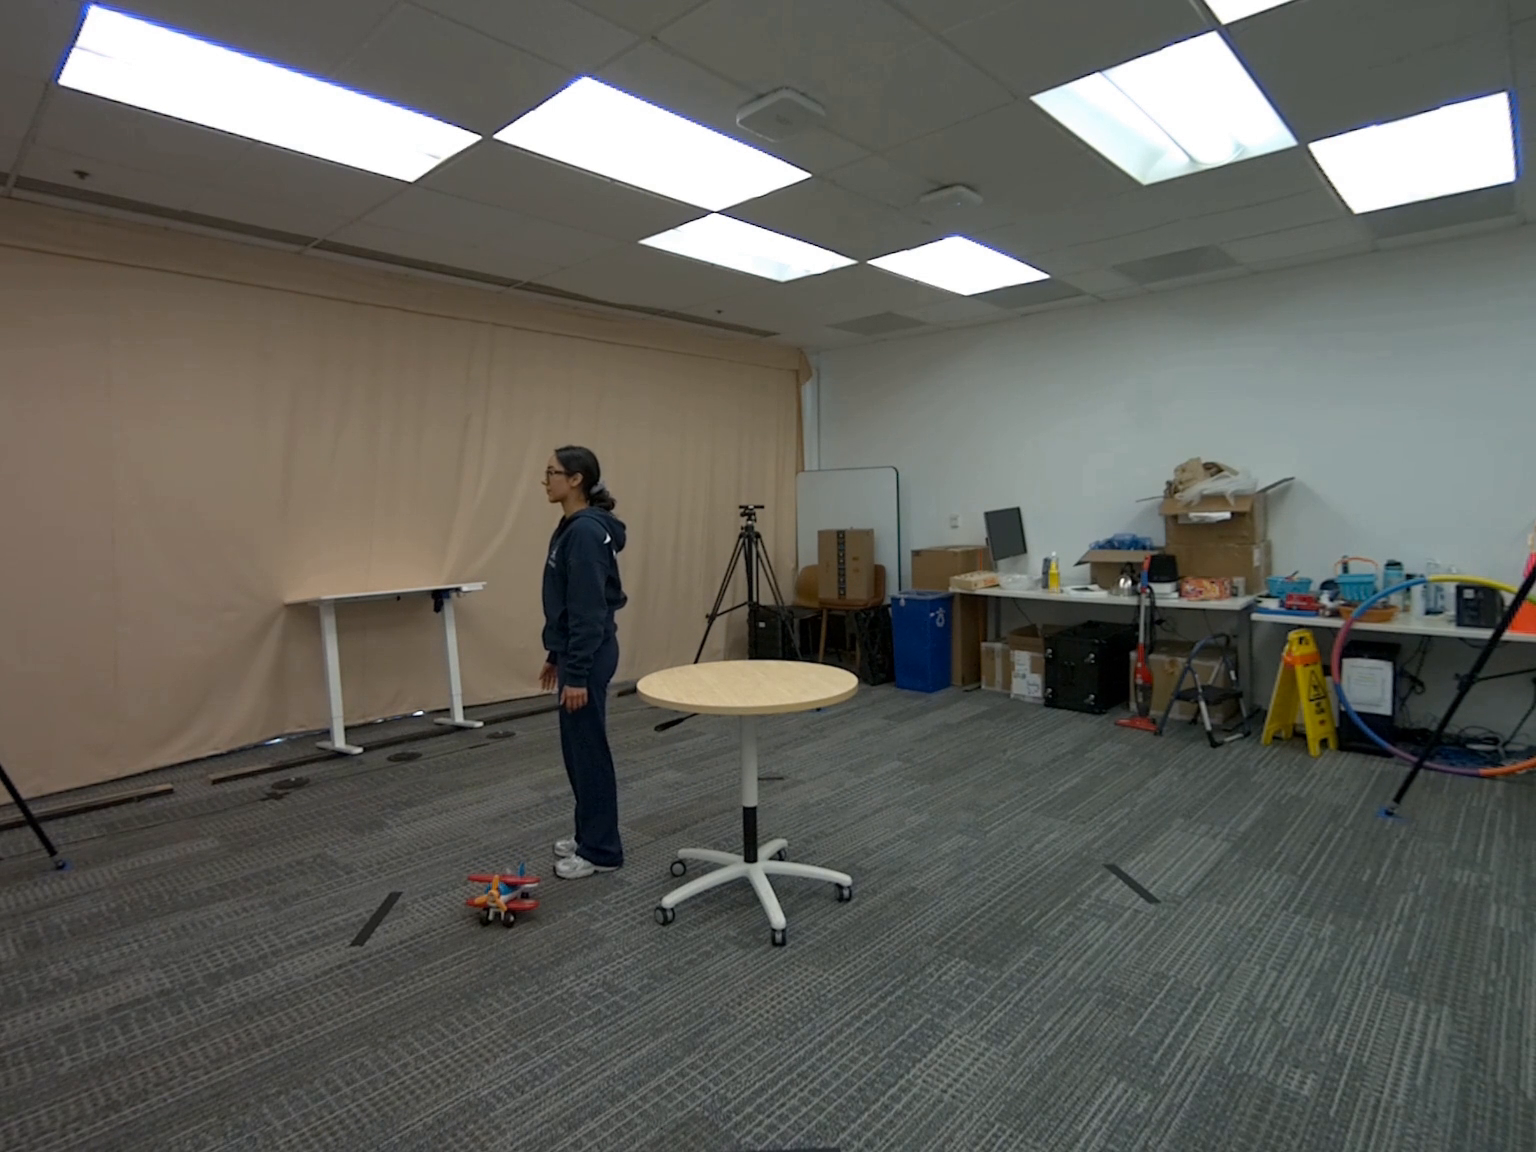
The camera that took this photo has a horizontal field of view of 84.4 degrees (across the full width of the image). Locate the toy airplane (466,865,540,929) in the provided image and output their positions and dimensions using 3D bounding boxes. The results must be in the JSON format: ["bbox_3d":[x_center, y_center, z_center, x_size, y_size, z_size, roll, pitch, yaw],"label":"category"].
[{"bbox_3d":[-0.914,1.086,2.918,0.246,0.156,0.264,-3,5,-18],"label":"toy airplane"}]
